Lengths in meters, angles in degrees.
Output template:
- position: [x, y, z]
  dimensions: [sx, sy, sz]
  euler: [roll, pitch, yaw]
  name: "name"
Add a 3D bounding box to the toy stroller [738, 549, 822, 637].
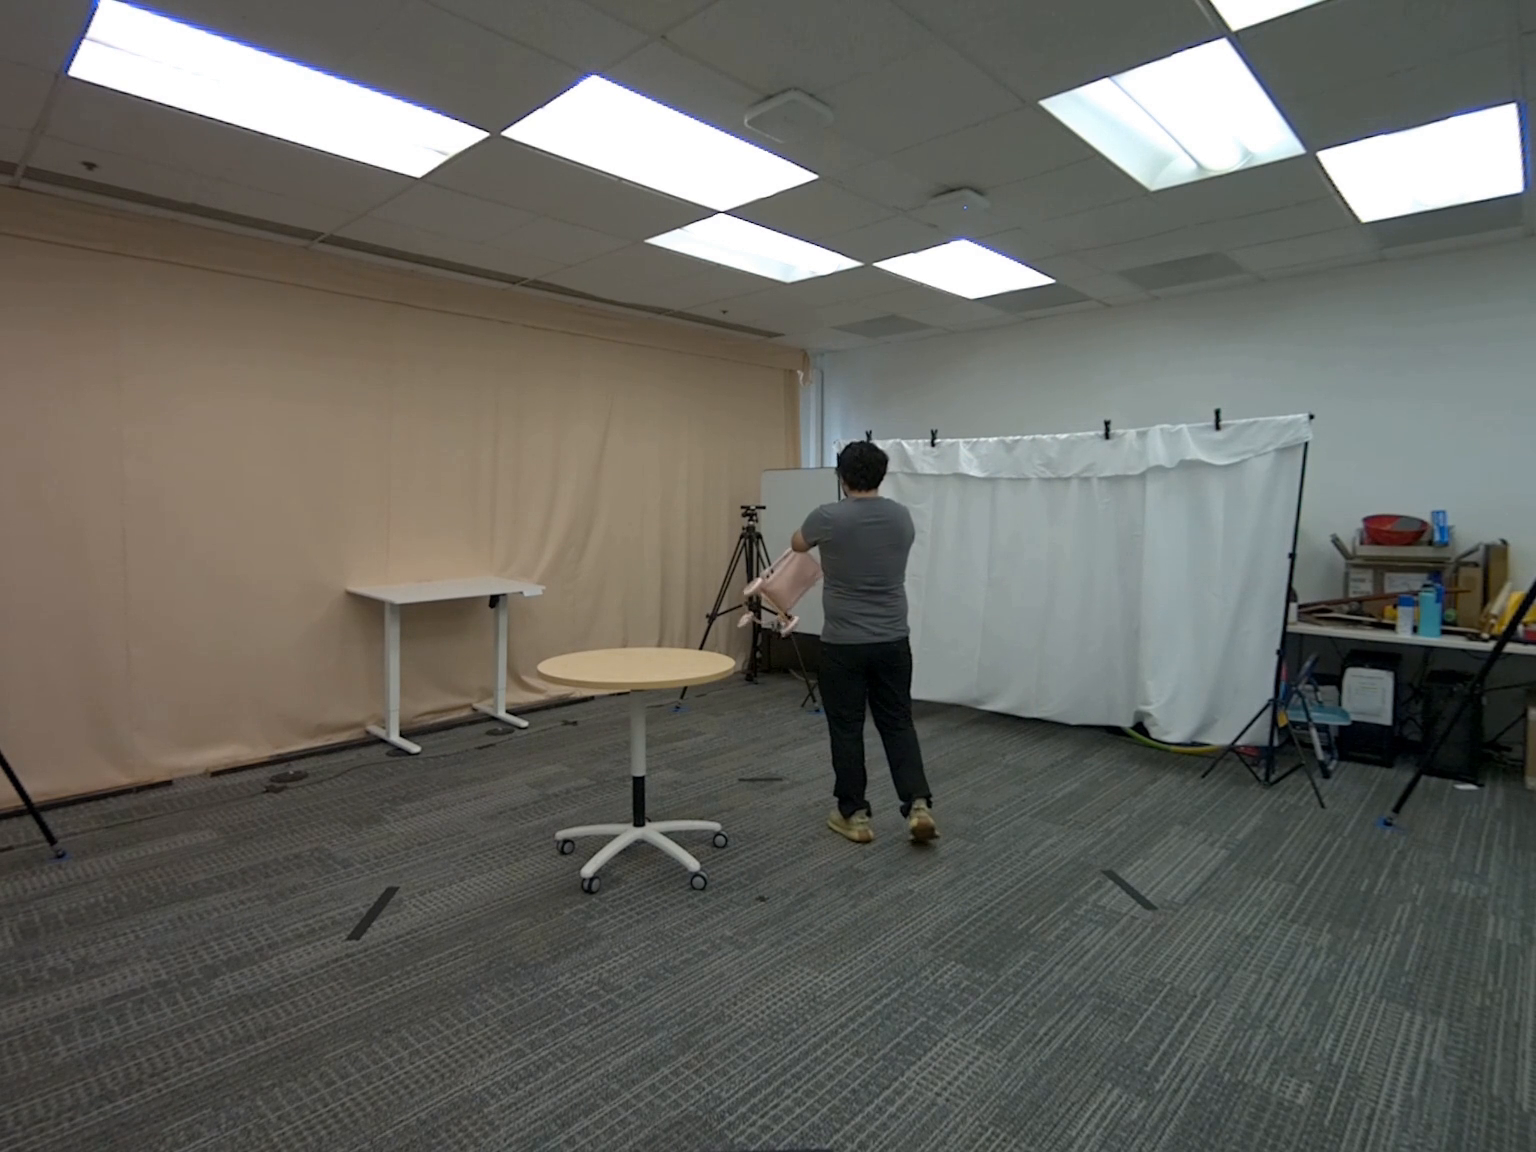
- position: [0.087, 0.045, 3.981]
  dimensions: [0.280, 0.532, 0.345]
  euler: [42, -20, -5]
  name: "toy stroller"
